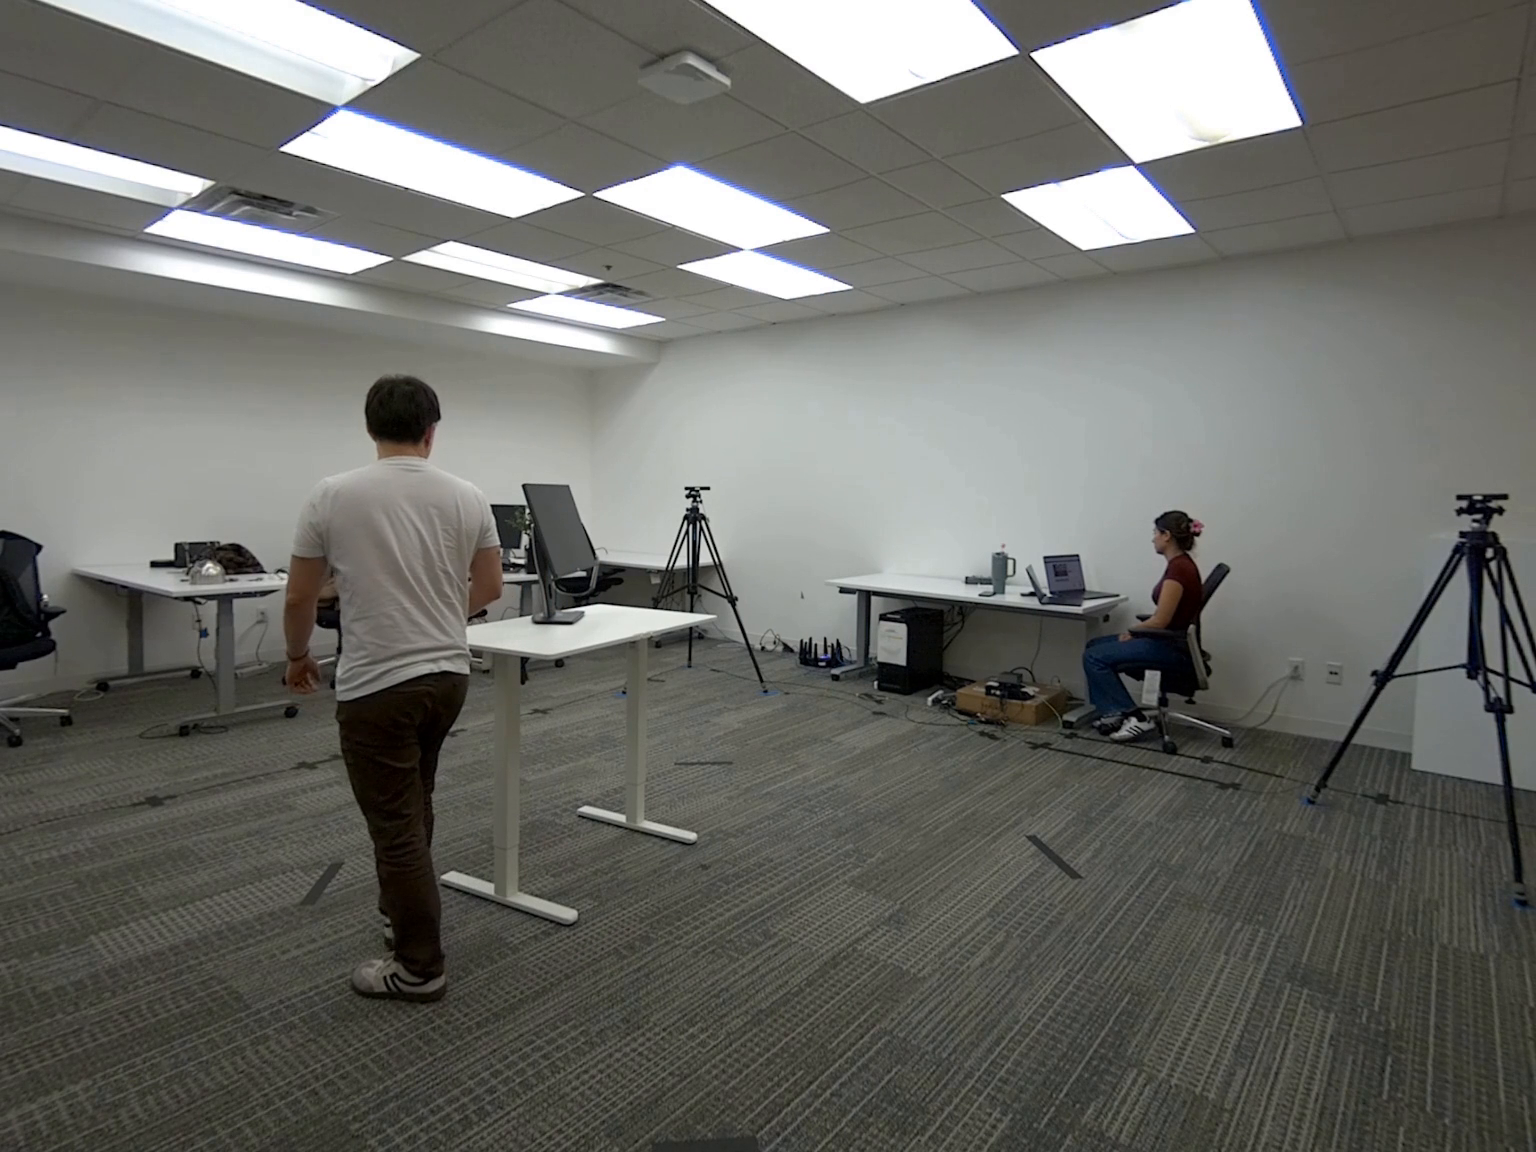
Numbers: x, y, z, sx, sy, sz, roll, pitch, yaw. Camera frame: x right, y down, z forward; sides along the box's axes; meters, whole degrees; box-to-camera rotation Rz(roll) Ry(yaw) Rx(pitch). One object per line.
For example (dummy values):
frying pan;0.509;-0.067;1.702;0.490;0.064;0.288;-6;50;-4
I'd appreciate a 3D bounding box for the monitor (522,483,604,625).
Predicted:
monitor;-0.829;-0.089;3.244;0.187;0.521;0.540;-3;4;1
